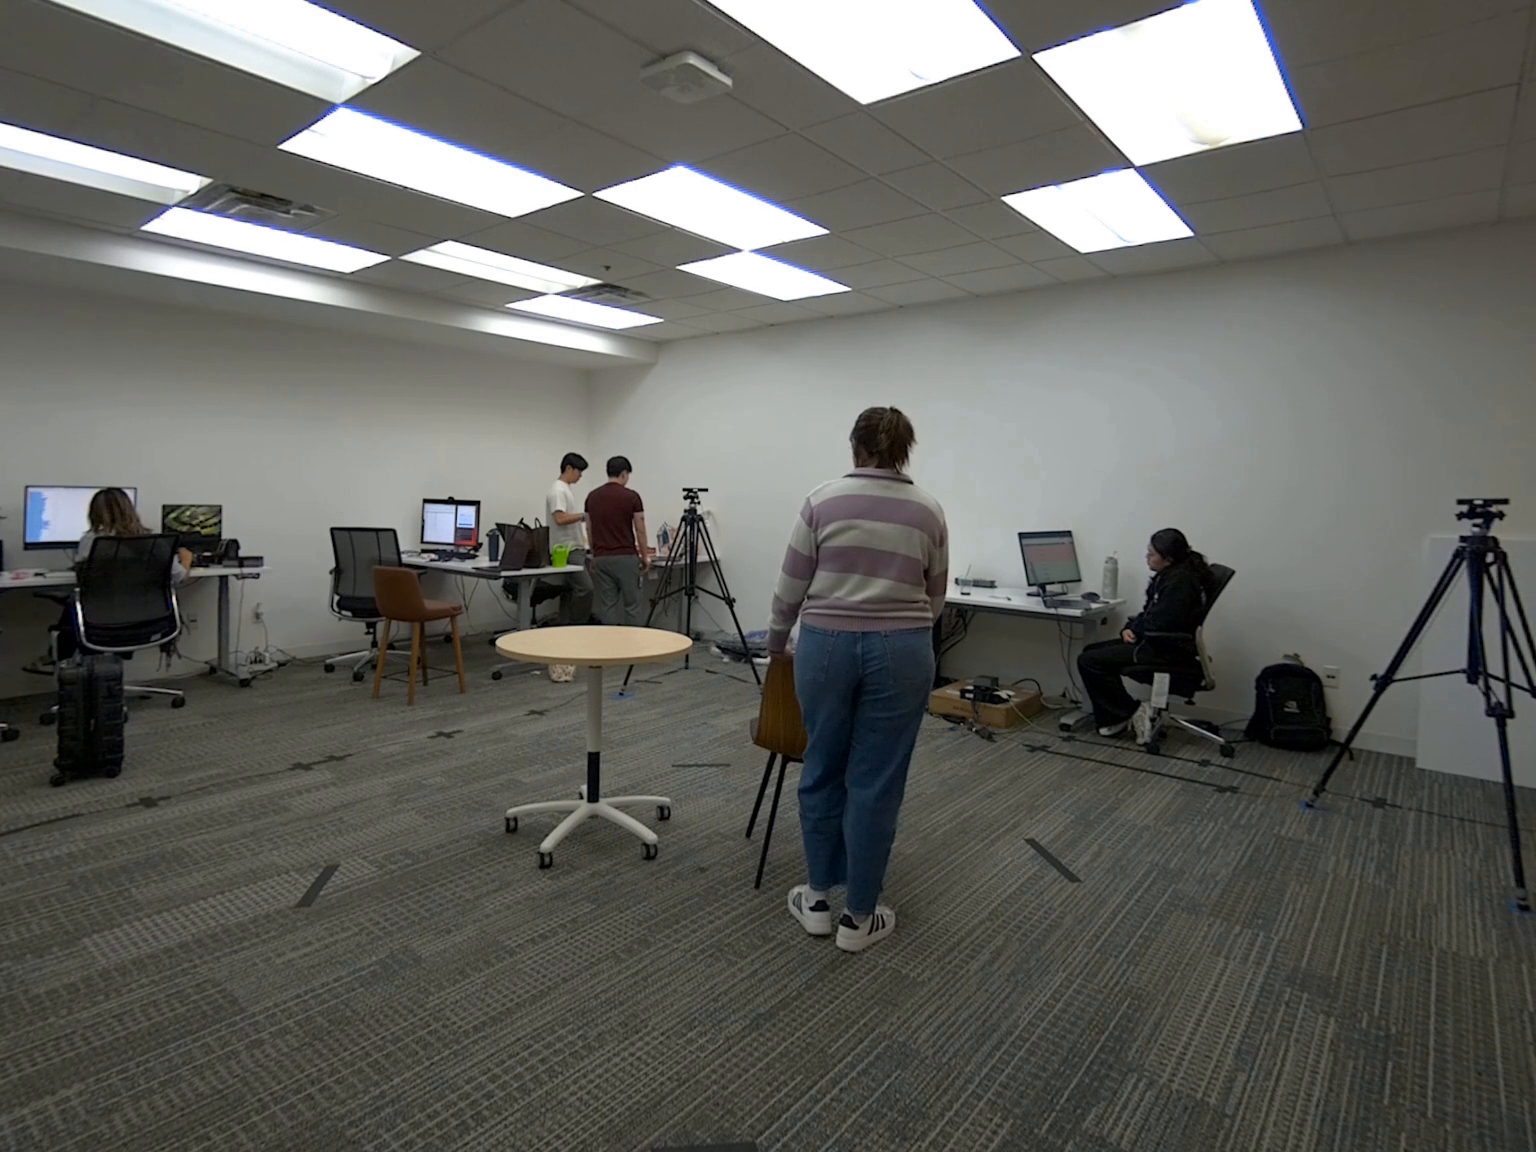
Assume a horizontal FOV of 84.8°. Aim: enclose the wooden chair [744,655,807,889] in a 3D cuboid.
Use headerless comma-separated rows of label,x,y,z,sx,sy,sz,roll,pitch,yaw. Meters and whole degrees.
wooden chair,0.152,0.643,3.171,0.477,0.871,0.529,1,8,-4
